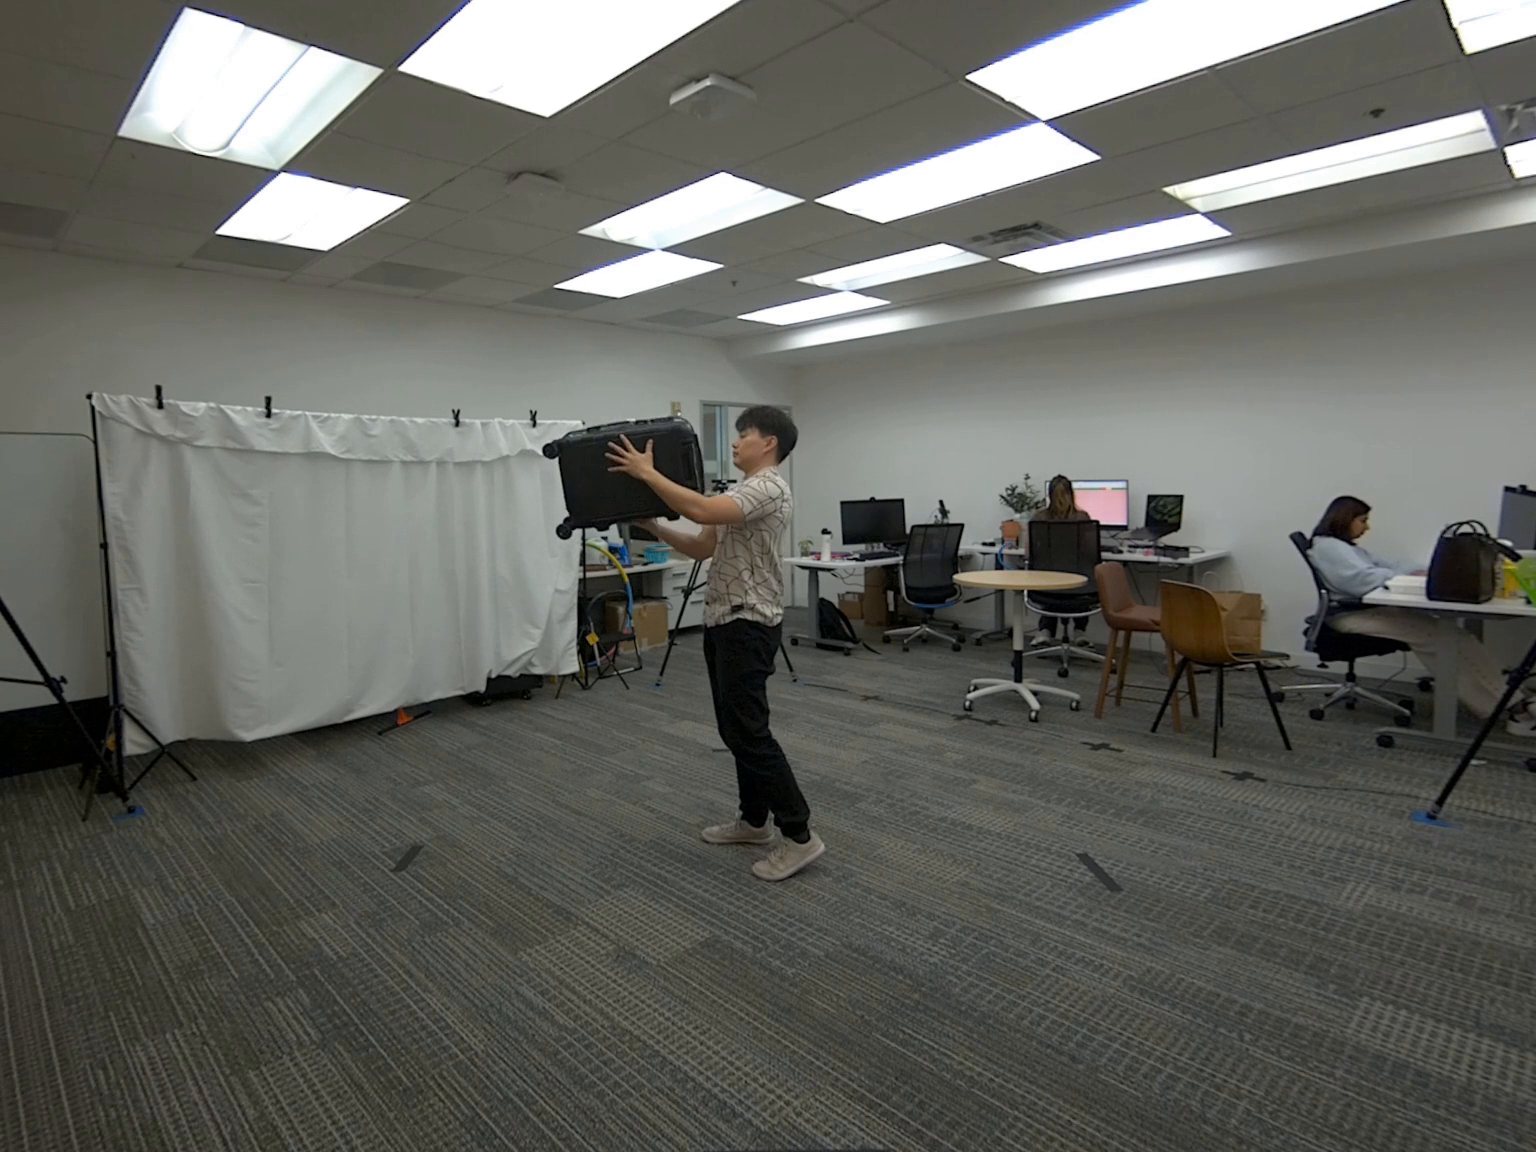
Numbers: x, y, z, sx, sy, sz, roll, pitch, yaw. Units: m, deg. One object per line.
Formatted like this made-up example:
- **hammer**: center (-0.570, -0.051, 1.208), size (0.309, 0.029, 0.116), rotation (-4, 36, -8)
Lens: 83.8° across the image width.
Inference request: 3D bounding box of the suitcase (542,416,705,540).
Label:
- **suitcase**: center (-0.513, -0.384, 3.143), size (0.549, 0.372, 0.251), rotation (-9, 10, -1)
